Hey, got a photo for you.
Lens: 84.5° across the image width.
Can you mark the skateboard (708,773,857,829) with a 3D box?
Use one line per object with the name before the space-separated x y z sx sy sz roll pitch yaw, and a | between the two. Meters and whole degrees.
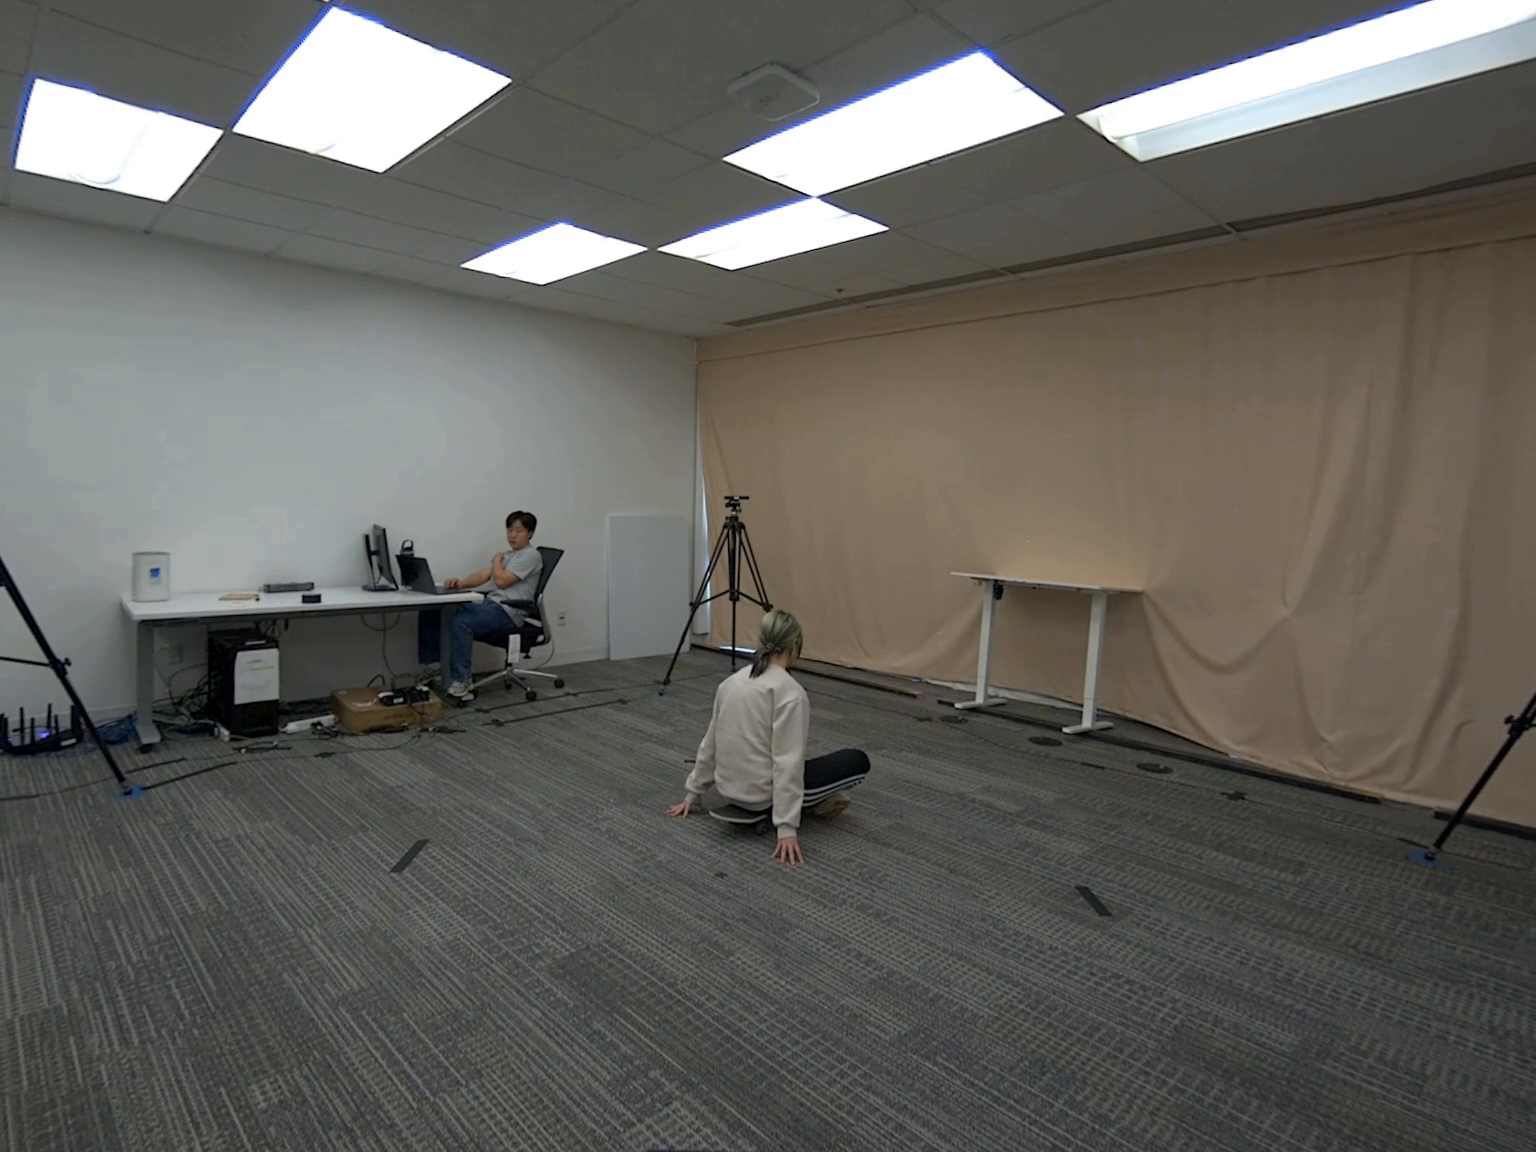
skateboard | 0.043 1.008 3.708 0.198 0.110 0.769 3 7 41
